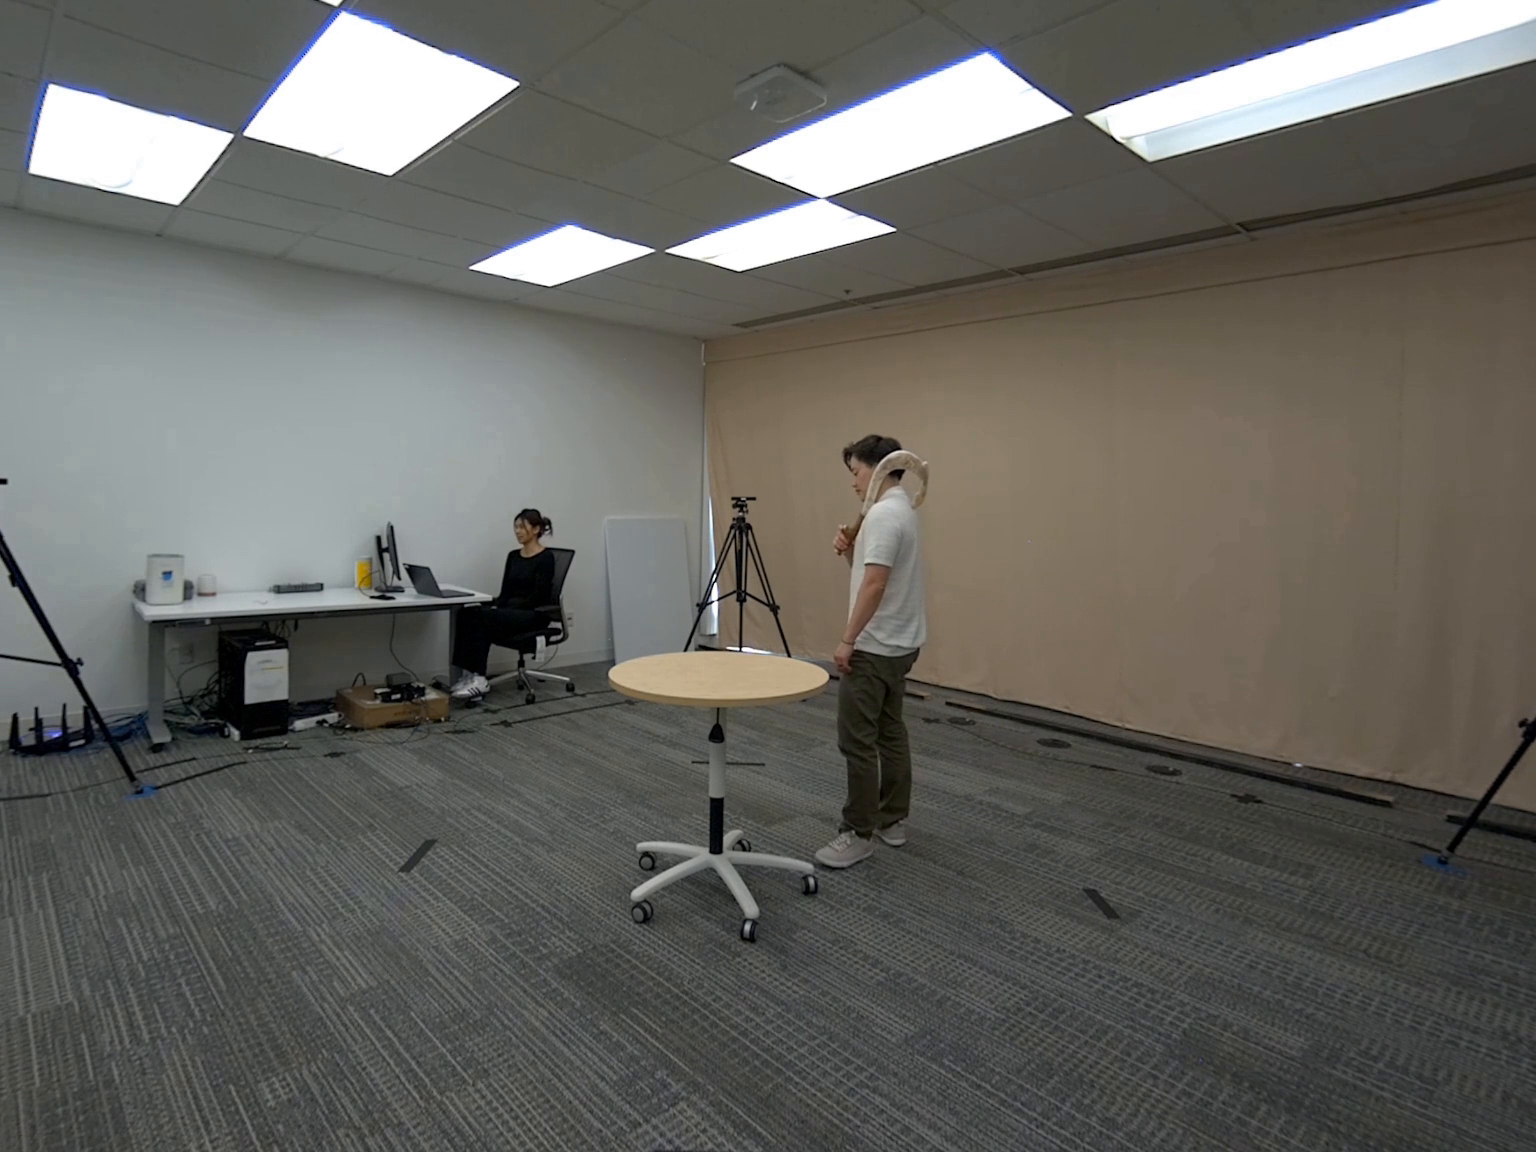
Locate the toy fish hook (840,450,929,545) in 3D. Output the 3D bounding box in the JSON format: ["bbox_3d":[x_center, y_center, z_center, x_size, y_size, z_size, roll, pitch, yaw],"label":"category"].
[{"bbox_3d":[0.447,-0.268,3.365,0.224,0.504,0.048,32,20,-1],"label":"toy fish hook"}]
